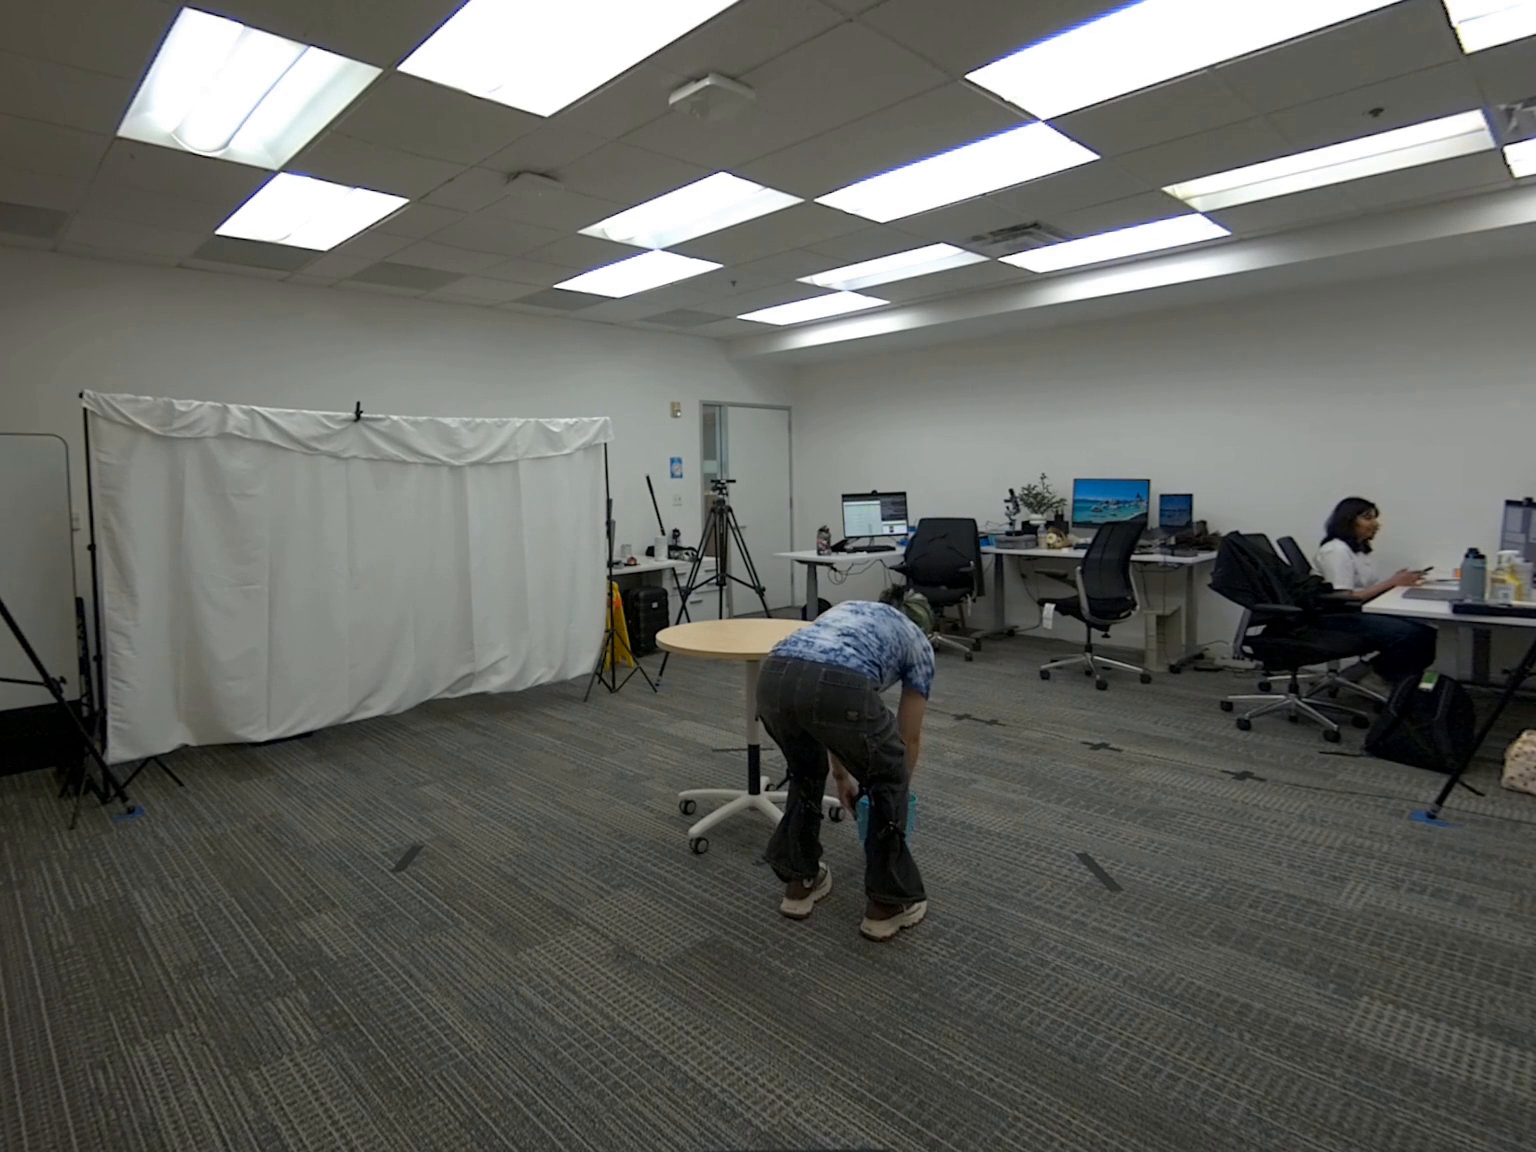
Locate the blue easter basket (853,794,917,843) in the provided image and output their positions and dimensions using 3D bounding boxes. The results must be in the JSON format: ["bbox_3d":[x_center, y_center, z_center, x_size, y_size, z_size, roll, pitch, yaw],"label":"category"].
[{"bbox_3d":[0.443,0.868,3.080,0.243,0.156,0.244,0,1,-2],"label":"blue easter basket"}]
